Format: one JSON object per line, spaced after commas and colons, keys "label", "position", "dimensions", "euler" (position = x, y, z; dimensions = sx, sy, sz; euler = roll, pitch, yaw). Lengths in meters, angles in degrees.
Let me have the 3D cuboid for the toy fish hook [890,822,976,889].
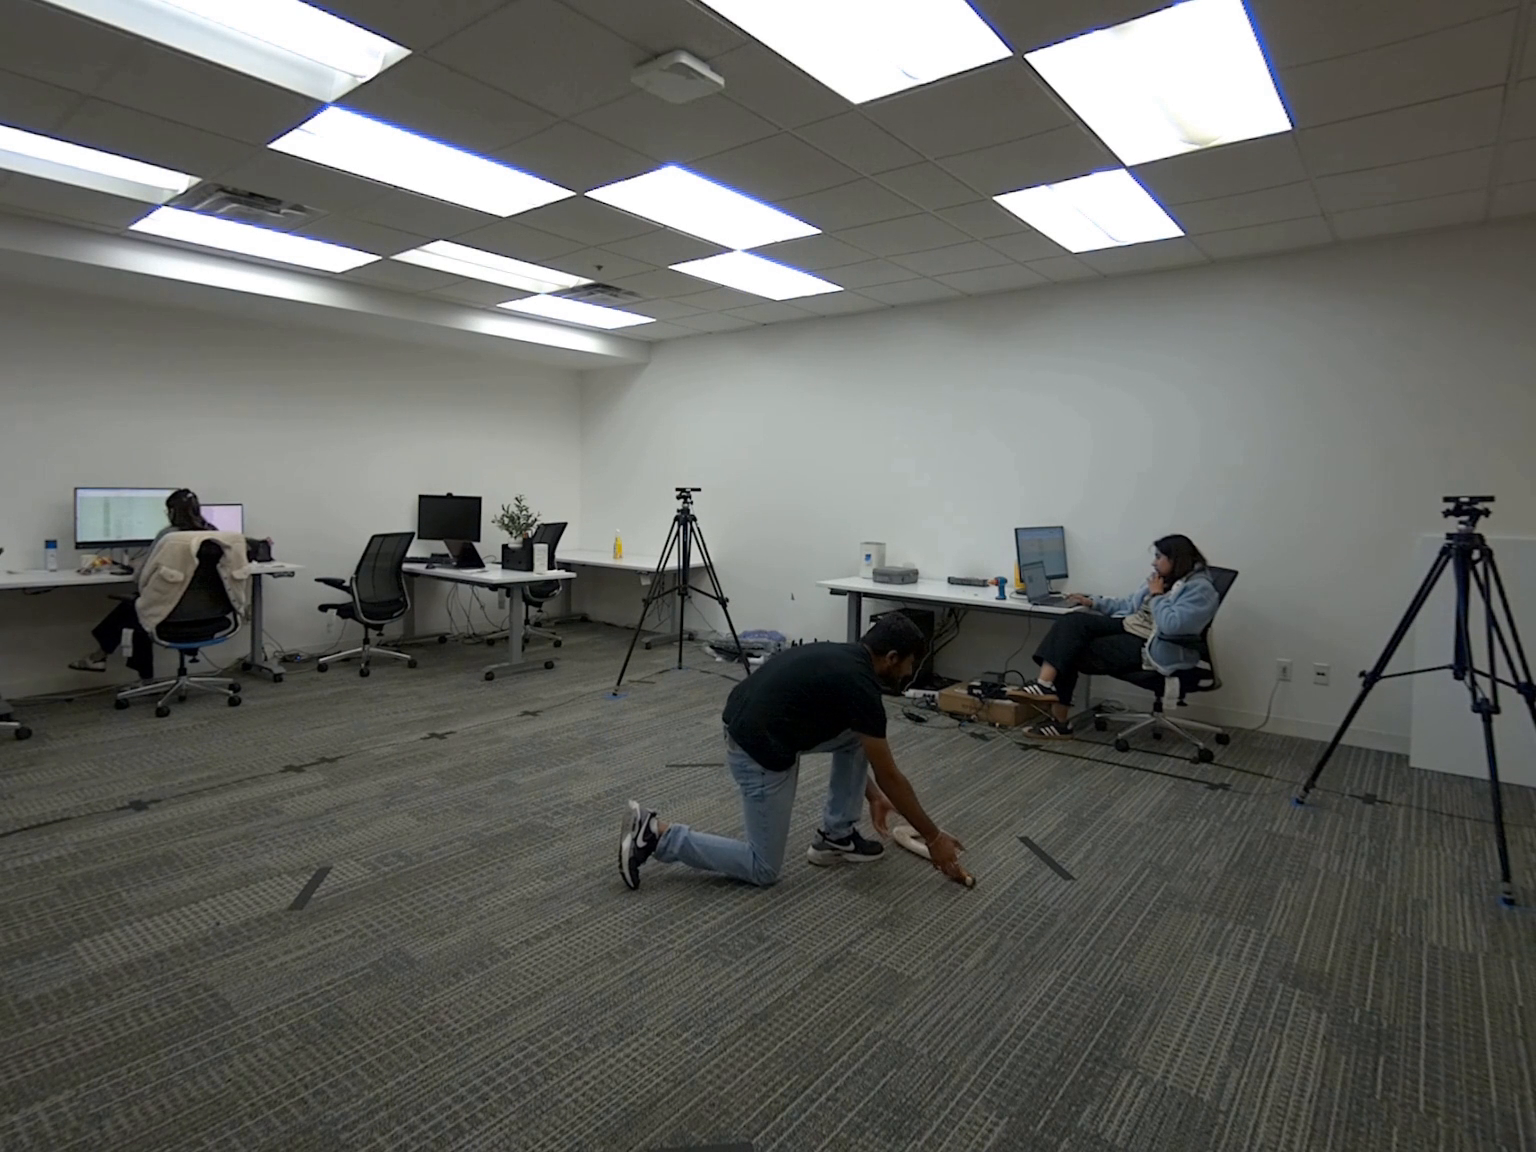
{"label": "toy fish hook", "position": [0.663, 1.051, 3.245], "dimensions": [0.220, 0.048, 0.520], "euler": [-3, 8, -23]}
